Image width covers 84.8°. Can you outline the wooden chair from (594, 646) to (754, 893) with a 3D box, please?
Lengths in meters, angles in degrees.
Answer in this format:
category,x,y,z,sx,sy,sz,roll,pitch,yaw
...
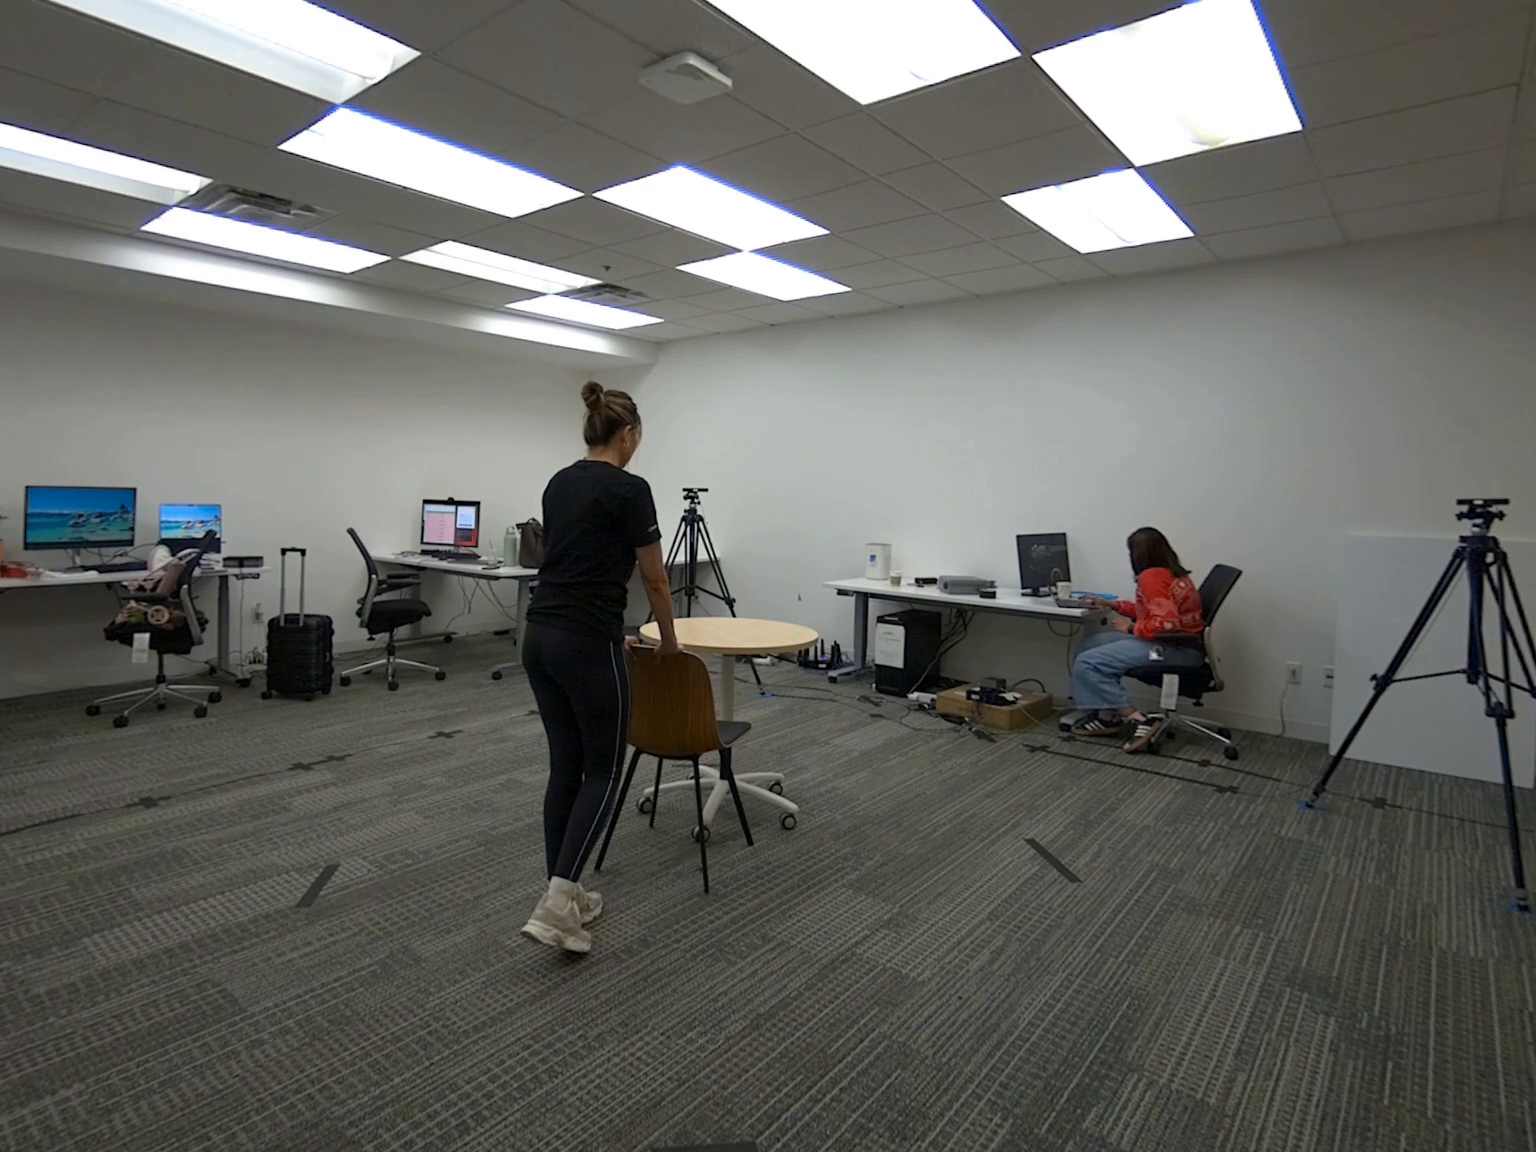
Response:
category,x,y,z,sx,sy,sz,roll,pitch,yaw
wooden chair,-0.342,0.629,3.187,0.489,0.872,0.515,2,7,21
